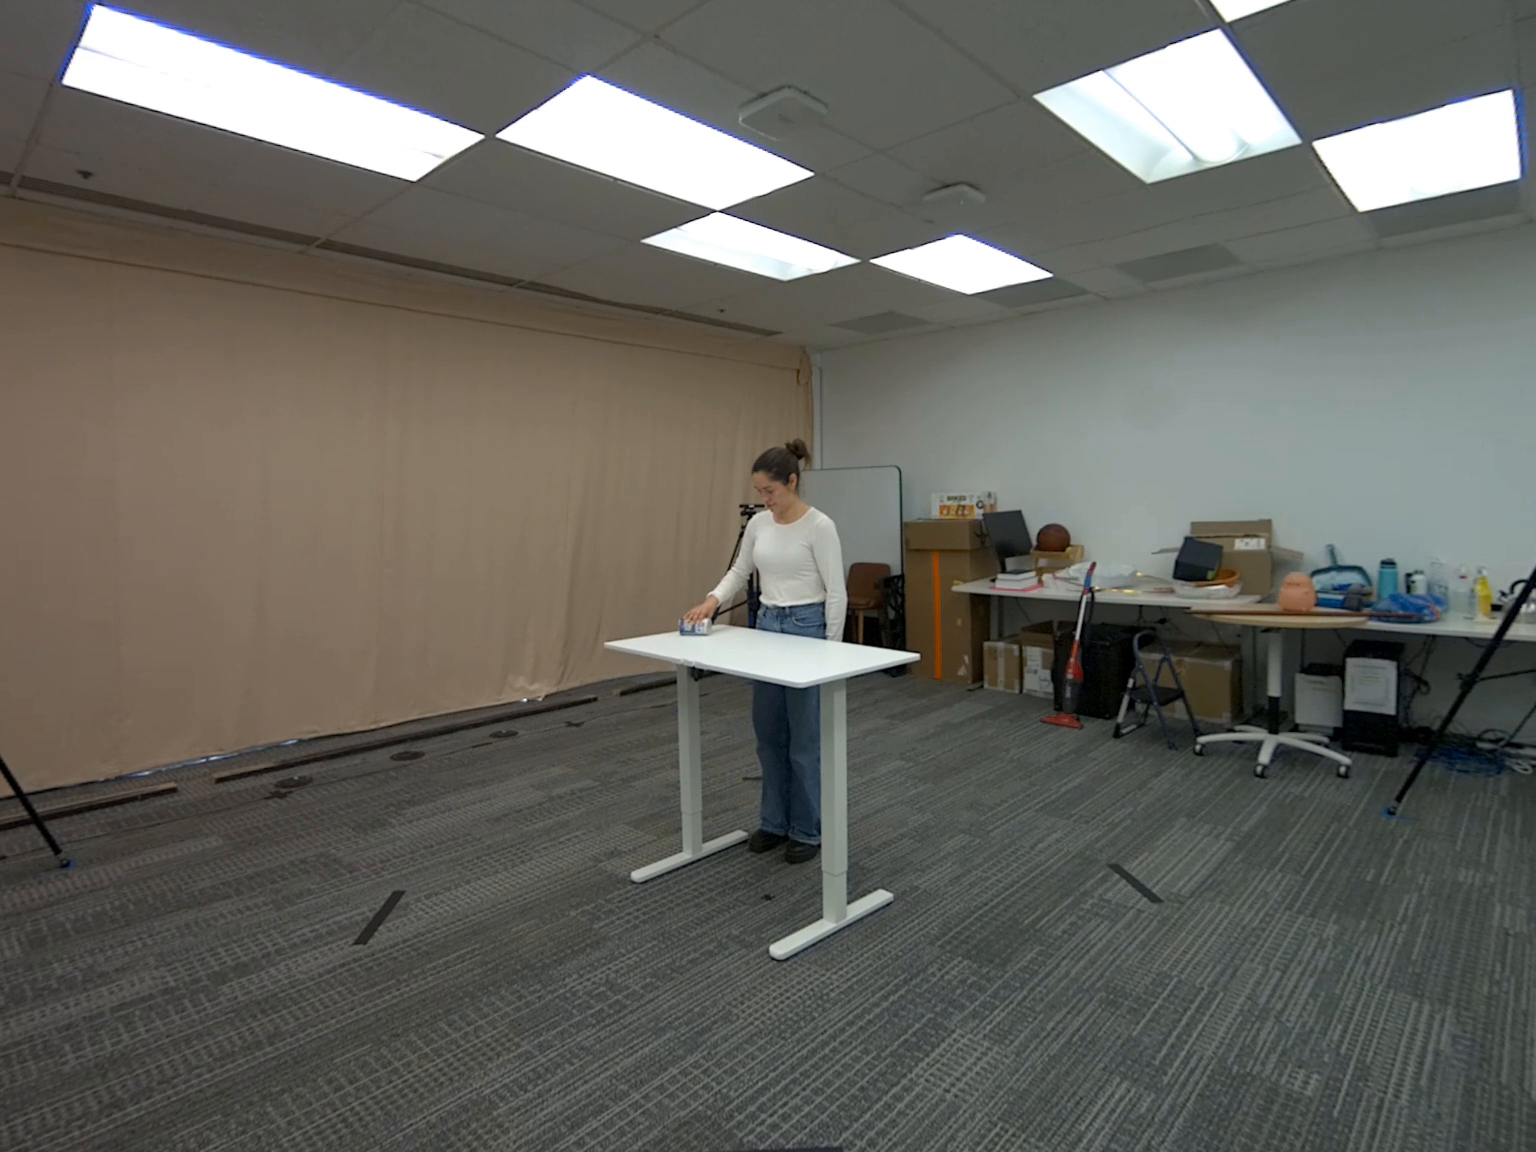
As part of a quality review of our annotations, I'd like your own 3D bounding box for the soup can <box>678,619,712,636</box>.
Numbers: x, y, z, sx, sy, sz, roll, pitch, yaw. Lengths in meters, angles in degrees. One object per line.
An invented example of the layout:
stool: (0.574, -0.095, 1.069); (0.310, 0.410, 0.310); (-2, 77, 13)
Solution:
soup can: (-0.280, 0.203, 3.313); (0.121, 0.067, 0.067); (0, 4, -2)
